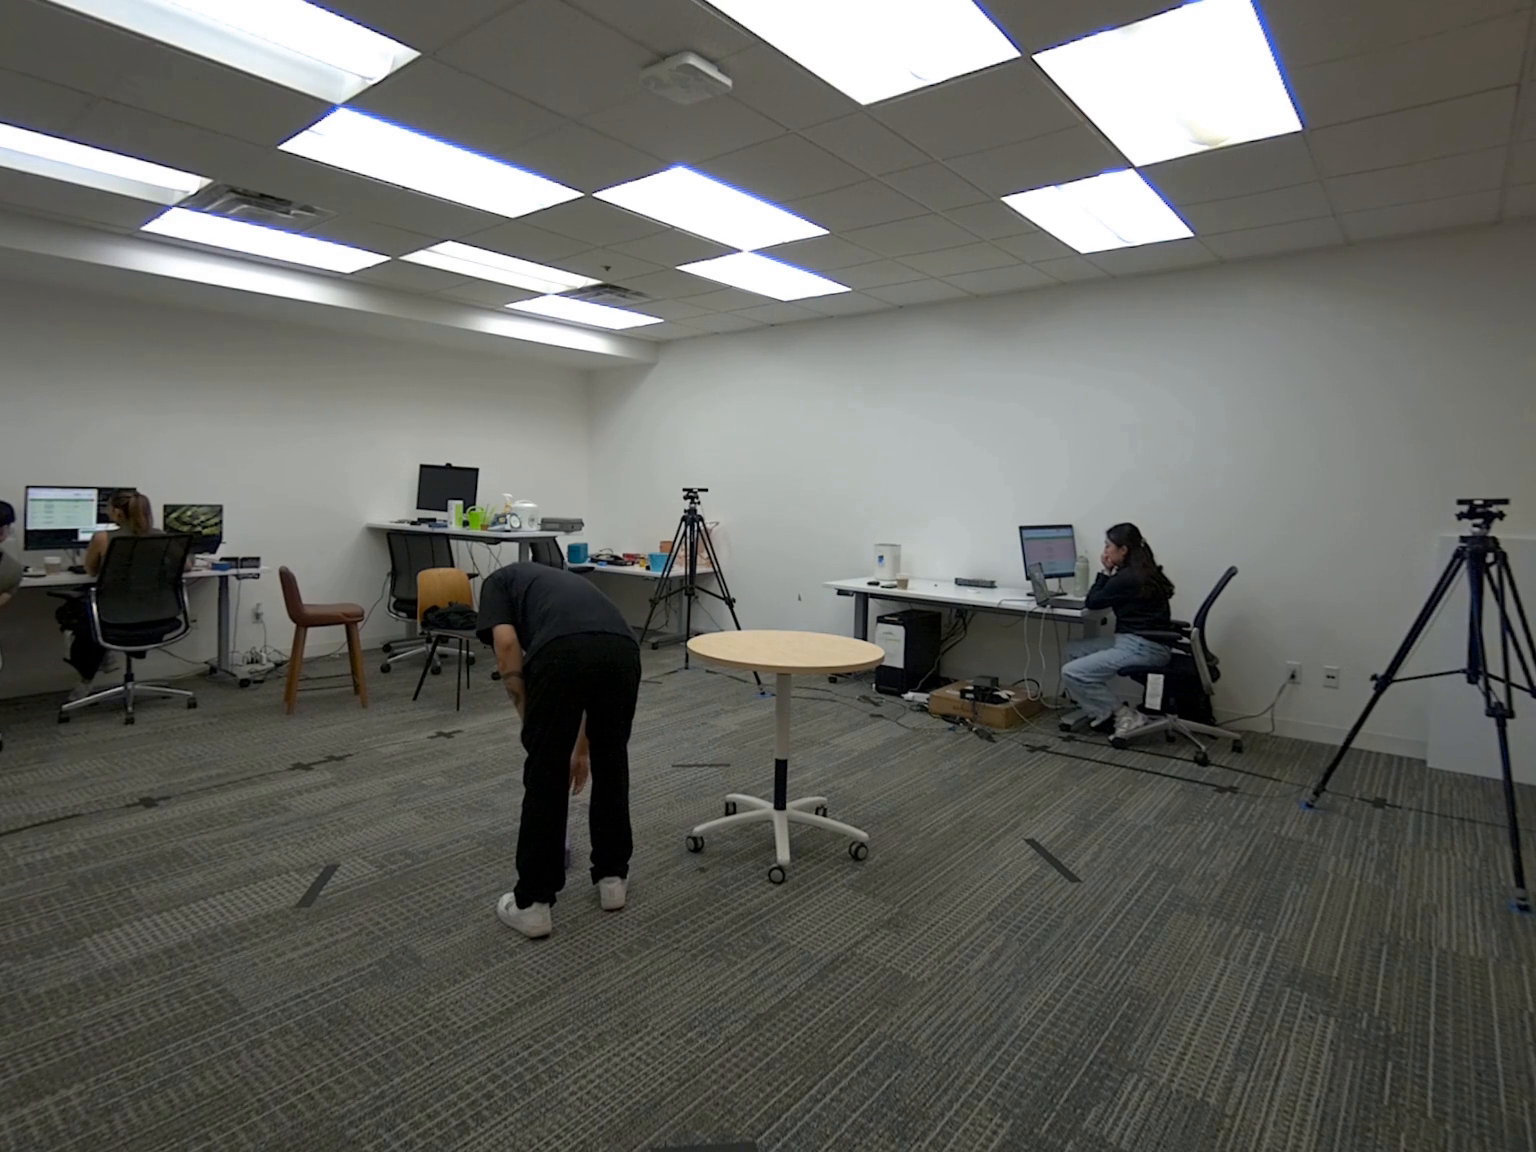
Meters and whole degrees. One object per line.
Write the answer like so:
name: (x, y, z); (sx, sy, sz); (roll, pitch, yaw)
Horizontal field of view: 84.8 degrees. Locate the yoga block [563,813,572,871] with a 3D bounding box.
yoga block: (-0.826, 1.009, 3.179); (0.147, 0.076, 0.233); (1, 5, -13)
